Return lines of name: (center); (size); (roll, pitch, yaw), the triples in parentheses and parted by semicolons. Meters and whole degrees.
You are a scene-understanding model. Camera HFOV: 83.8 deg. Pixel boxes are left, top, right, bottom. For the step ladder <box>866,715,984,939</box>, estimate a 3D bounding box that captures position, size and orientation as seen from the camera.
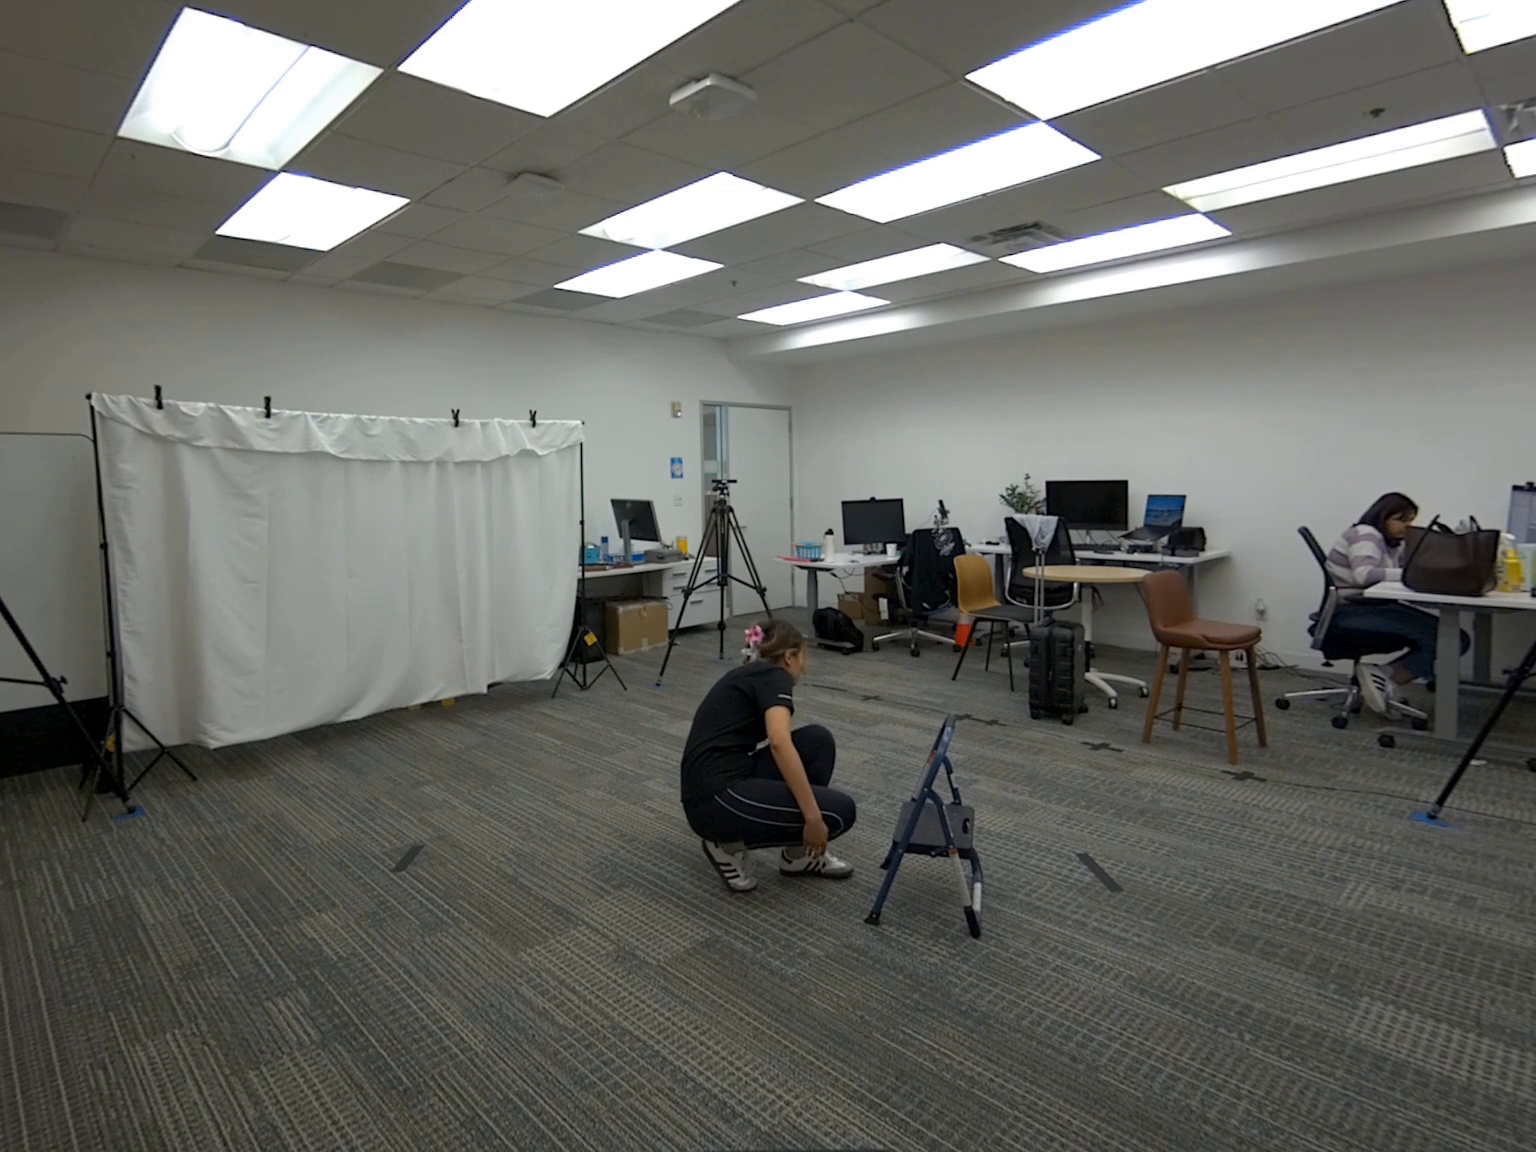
step ladder: (0.522, 0.766, 2.800); (0.355, 0.604, 0.425); (0, 4, 16)
